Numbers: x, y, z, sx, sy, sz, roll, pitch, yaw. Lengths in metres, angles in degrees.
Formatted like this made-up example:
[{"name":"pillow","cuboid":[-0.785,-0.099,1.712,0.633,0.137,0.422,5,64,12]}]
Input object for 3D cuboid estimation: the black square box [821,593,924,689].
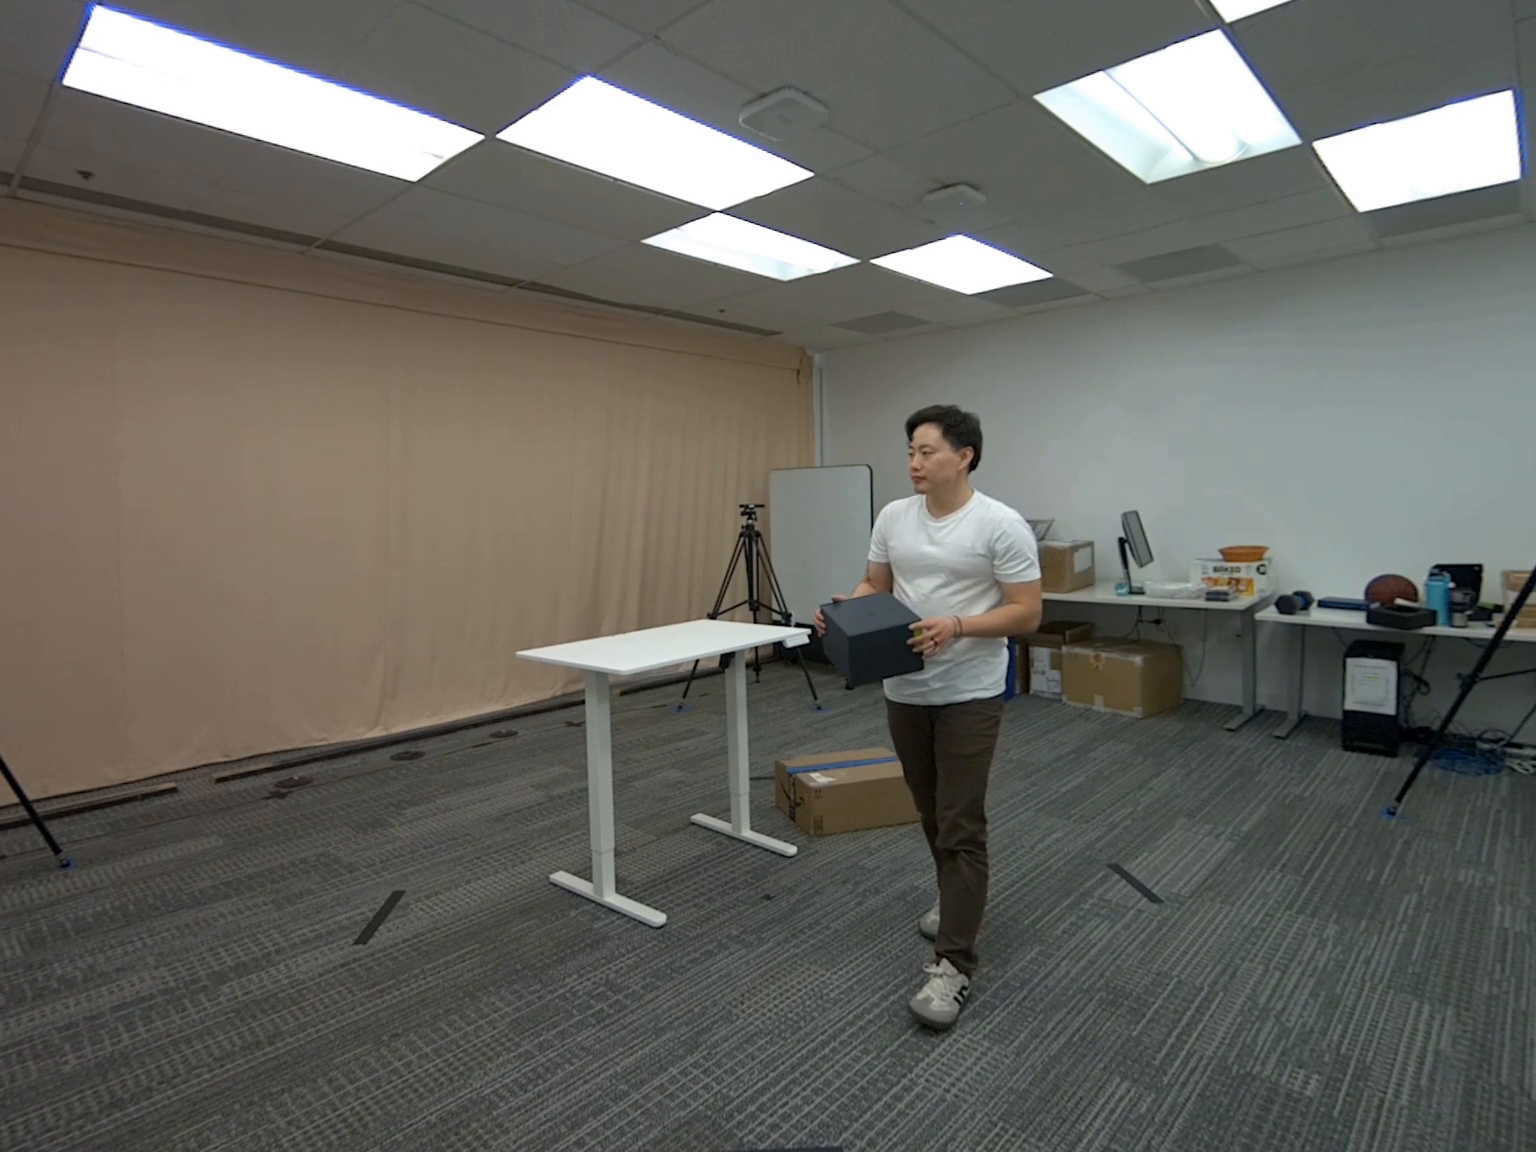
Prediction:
[{"name":"black square box","cuboid":[0.301,0.172,2.358,0.215,0.154,0.232,-8,16,-8]}]
